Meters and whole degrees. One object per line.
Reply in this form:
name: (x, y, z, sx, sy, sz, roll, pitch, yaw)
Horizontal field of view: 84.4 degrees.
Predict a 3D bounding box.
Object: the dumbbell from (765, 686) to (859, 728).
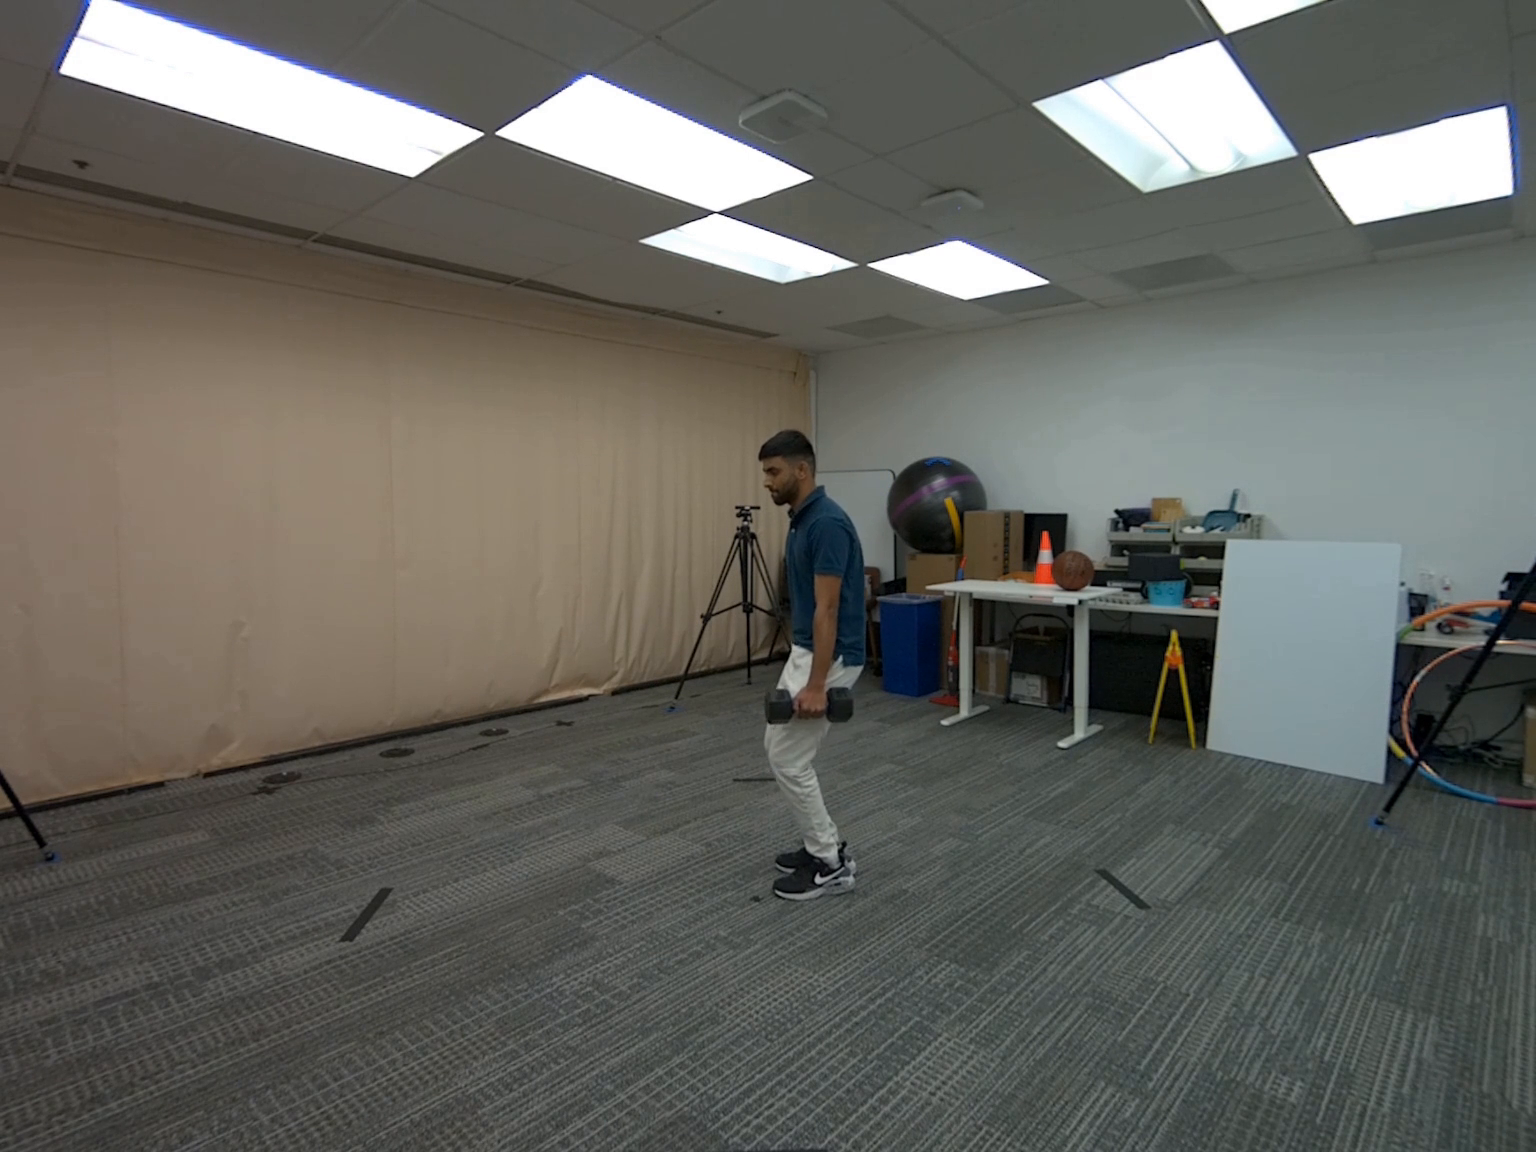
dumbbell: (0.145, 0.442, 2.868, 0.292, 0.123, 0.109, -3, 2, -3)
